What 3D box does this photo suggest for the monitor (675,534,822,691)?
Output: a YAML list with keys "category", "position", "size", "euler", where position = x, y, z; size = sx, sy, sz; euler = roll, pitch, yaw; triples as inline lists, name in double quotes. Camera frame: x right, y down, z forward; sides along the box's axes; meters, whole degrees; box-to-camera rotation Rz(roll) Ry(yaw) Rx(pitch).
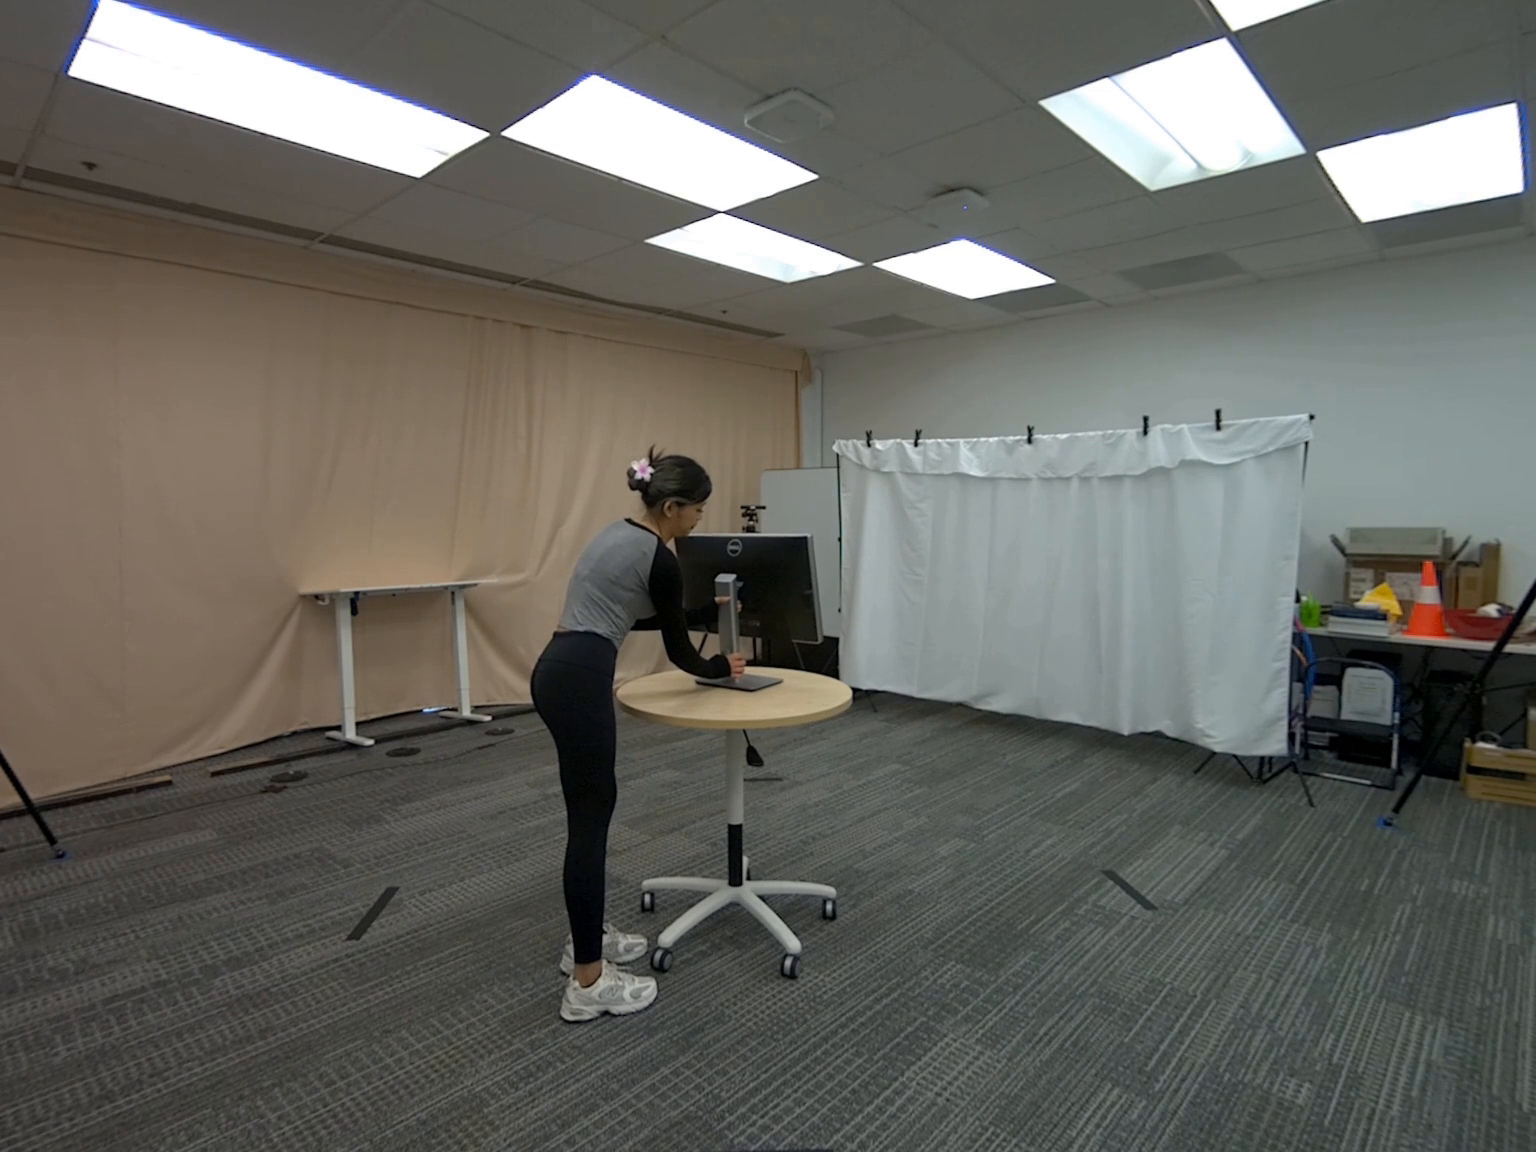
- category: "monitor"
  position: [-0.098, 0.118, 2.843]
  size: [0.556, 0.522, 0.181]
  euler: [2, 0, 34]
